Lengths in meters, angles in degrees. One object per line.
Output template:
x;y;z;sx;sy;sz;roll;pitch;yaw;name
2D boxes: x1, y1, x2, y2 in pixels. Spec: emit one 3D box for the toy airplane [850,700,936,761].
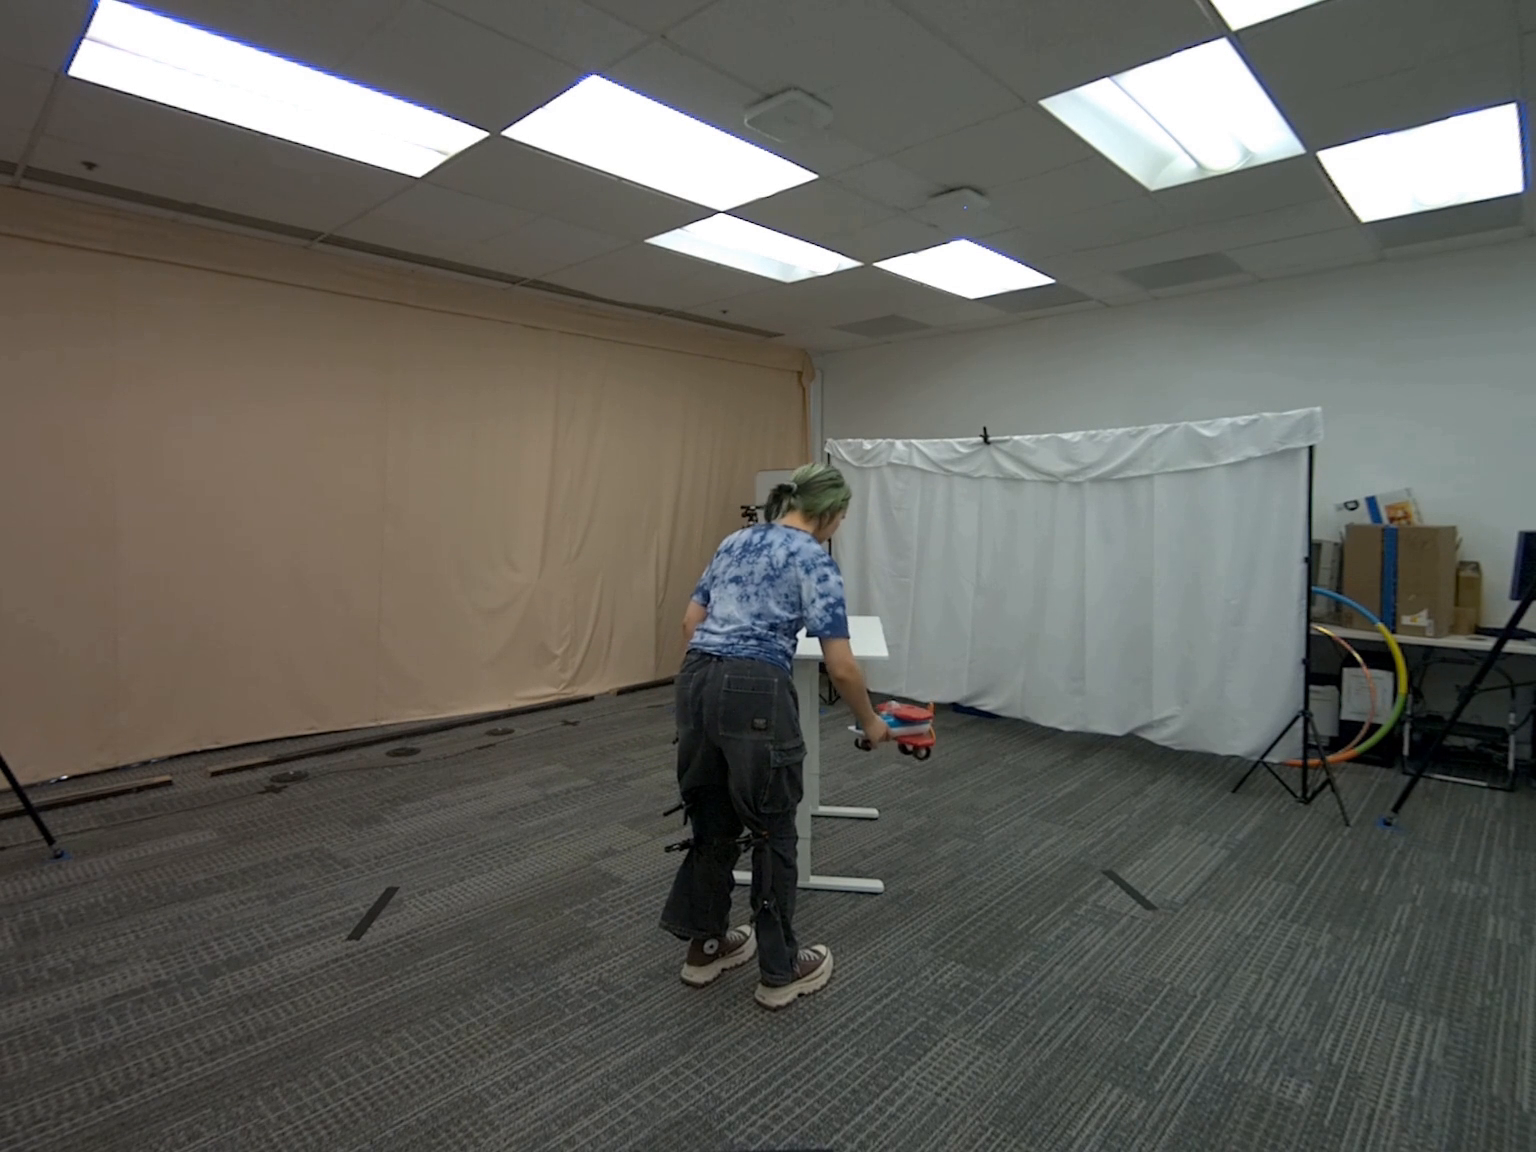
0.398;0.473;2.578;0.259;0.157;0.250;6;-5;43;toy airplane
